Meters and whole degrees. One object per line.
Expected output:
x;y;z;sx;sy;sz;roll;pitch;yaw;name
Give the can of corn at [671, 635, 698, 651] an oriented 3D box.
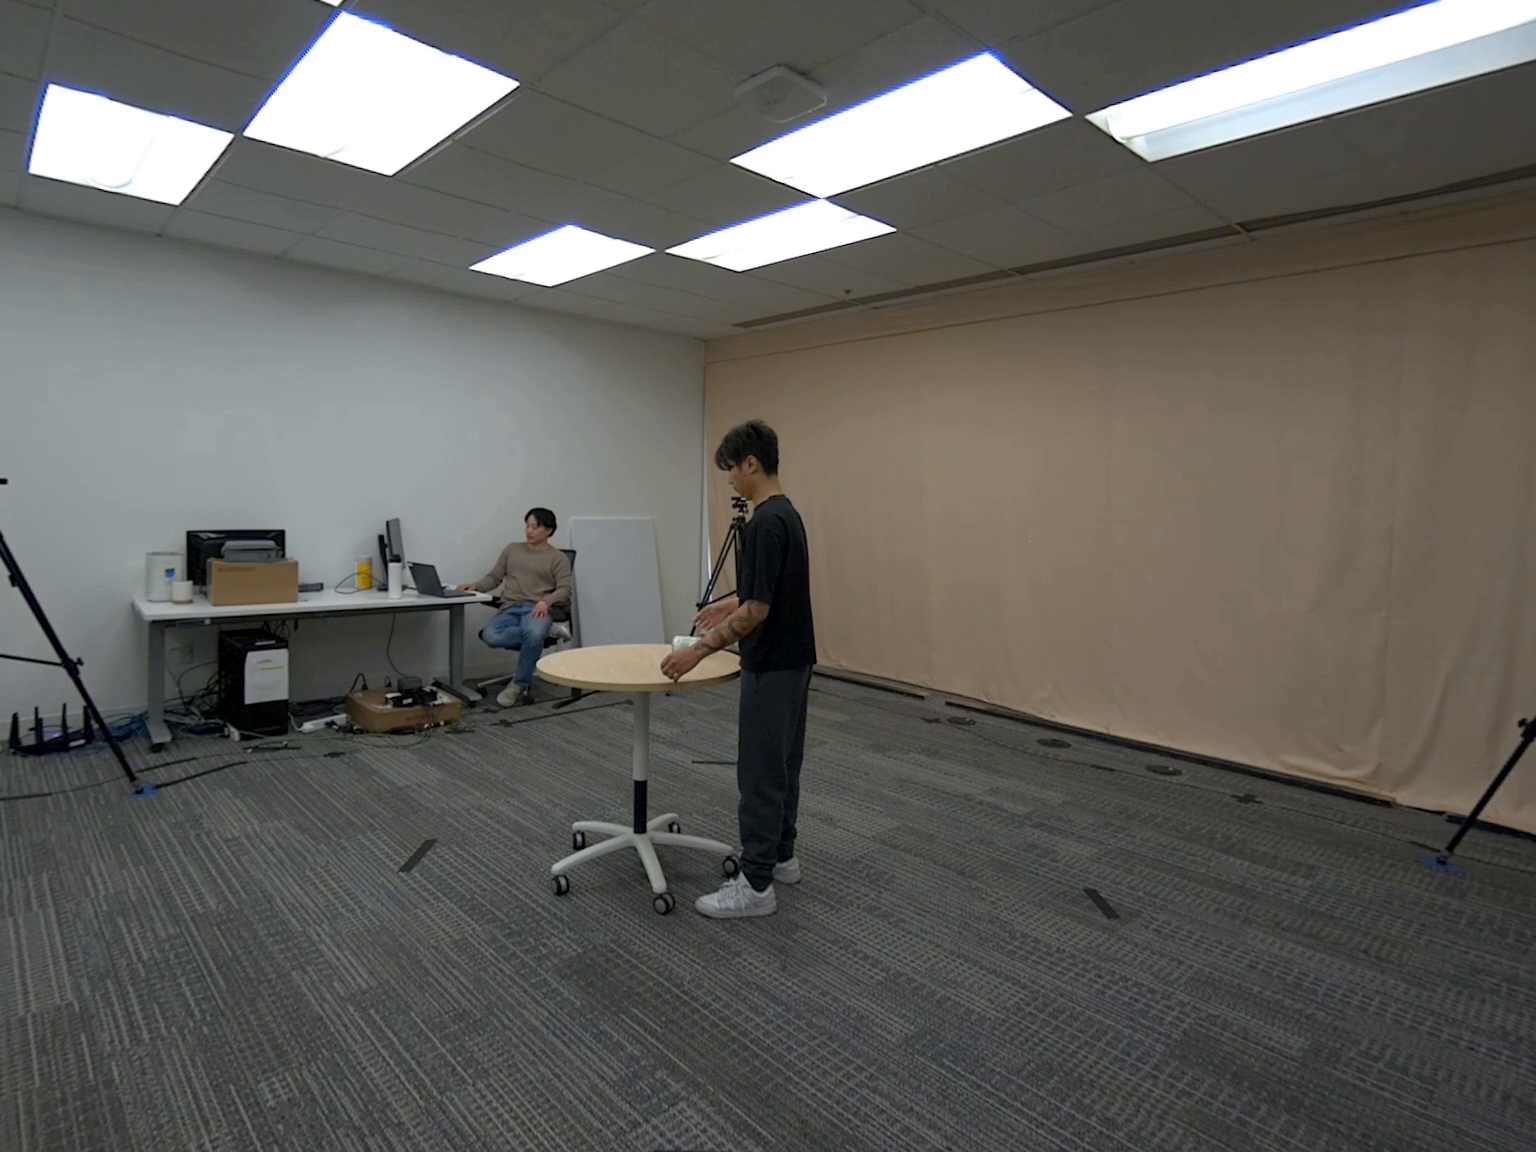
-0.320;0.272;3.231;0.112;0.074;0.073;4;4;12;can of corn
